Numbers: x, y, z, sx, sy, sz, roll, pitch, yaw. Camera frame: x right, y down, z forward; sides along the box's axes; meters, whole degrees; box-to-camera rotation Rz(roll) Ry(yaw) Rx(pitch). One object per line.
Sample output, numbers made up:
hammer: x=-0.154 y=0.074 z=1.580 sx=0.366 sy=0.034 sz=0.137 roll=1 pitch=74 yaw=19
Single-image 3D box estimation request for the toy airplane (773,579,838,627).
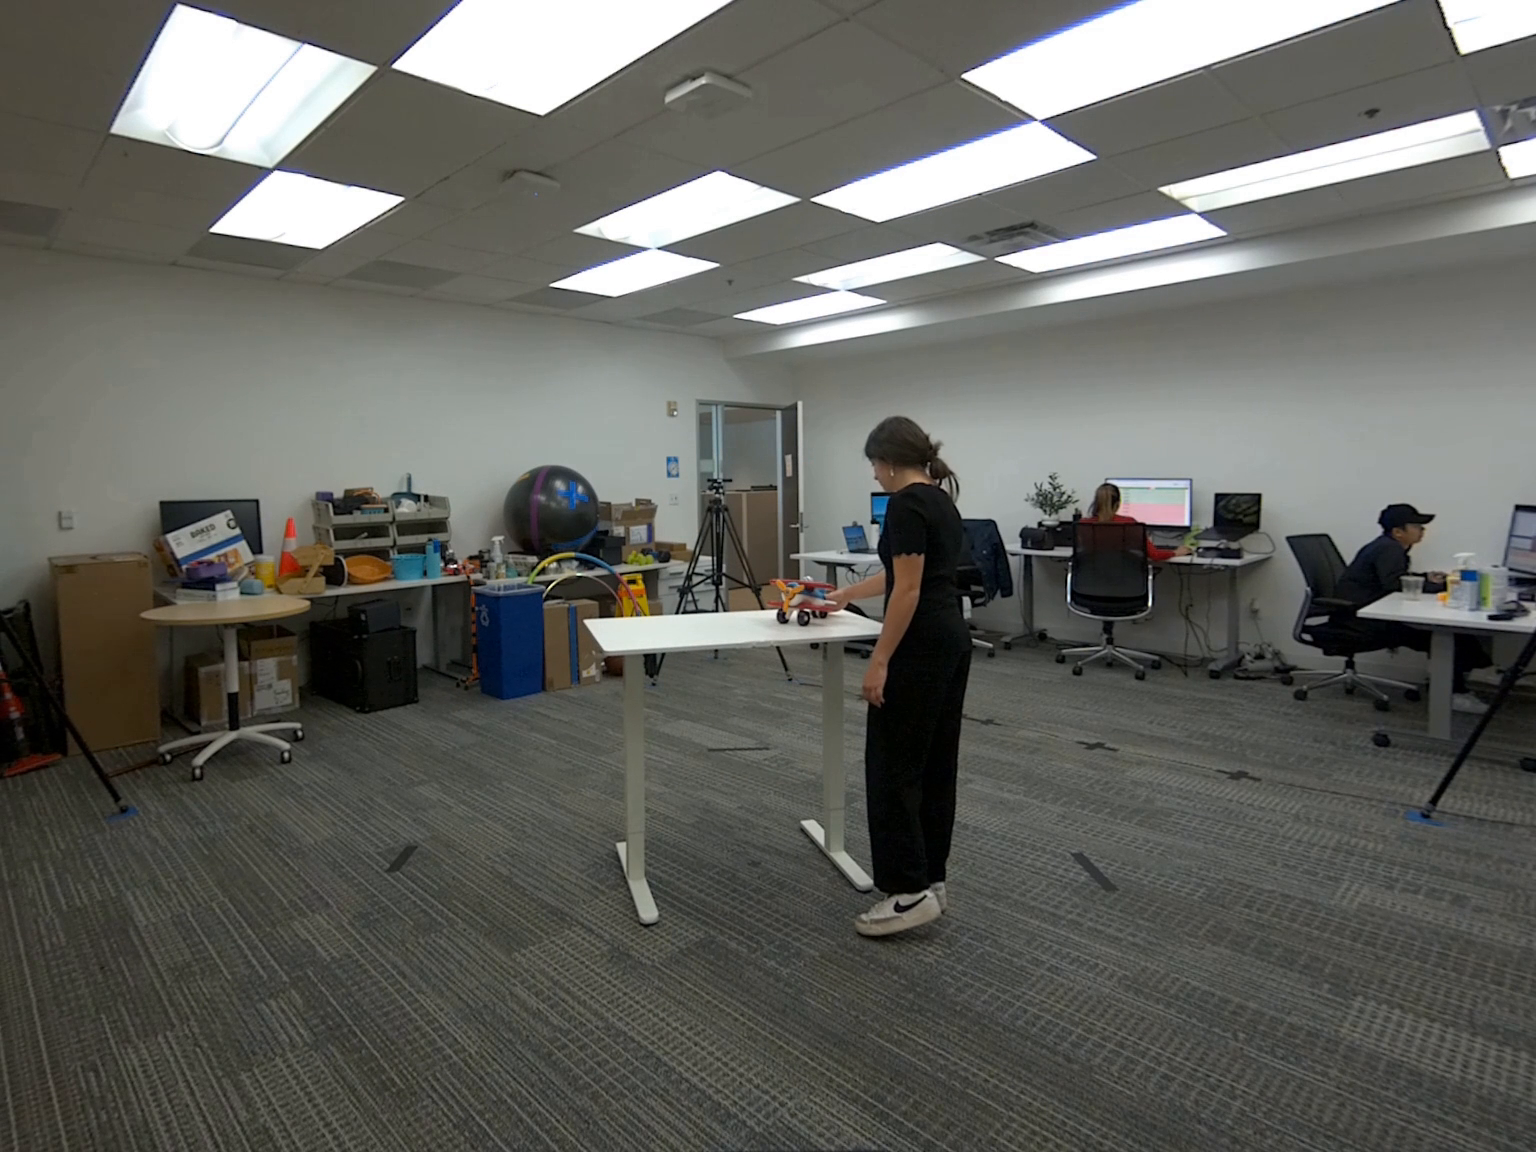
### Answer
toy airplane: x=0.121 y=0.087 z=3.085 sx=0.253 sy=0.156 sz=0.258 roll=1 pitch=6 yaw=7
